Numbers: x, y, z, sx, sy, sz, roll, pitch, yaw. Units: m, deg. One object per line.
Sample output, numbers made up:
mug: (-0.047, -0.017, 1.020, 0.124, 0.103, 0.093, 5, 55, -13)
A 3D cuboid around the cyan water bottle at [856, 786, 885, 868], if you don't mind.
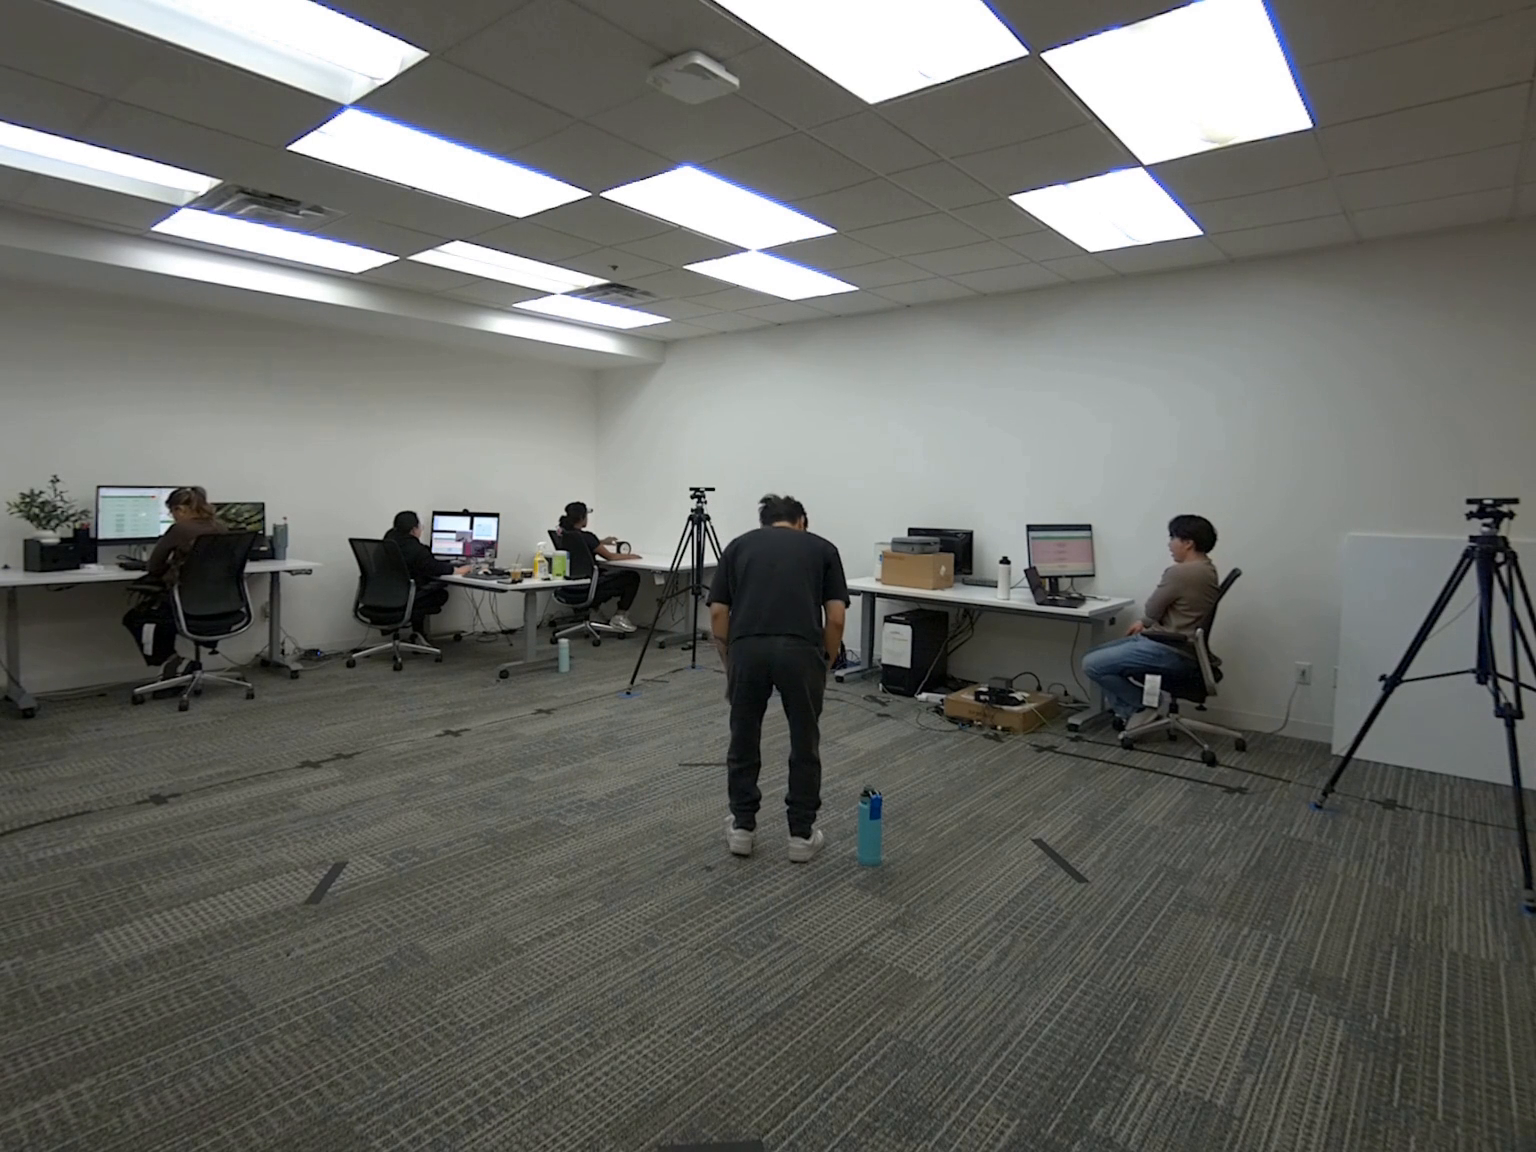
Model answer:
cyan water bottle: (0.379, 0.931, 3.196, 0.092, 0.282, 0.093, 0, 5, -2)
